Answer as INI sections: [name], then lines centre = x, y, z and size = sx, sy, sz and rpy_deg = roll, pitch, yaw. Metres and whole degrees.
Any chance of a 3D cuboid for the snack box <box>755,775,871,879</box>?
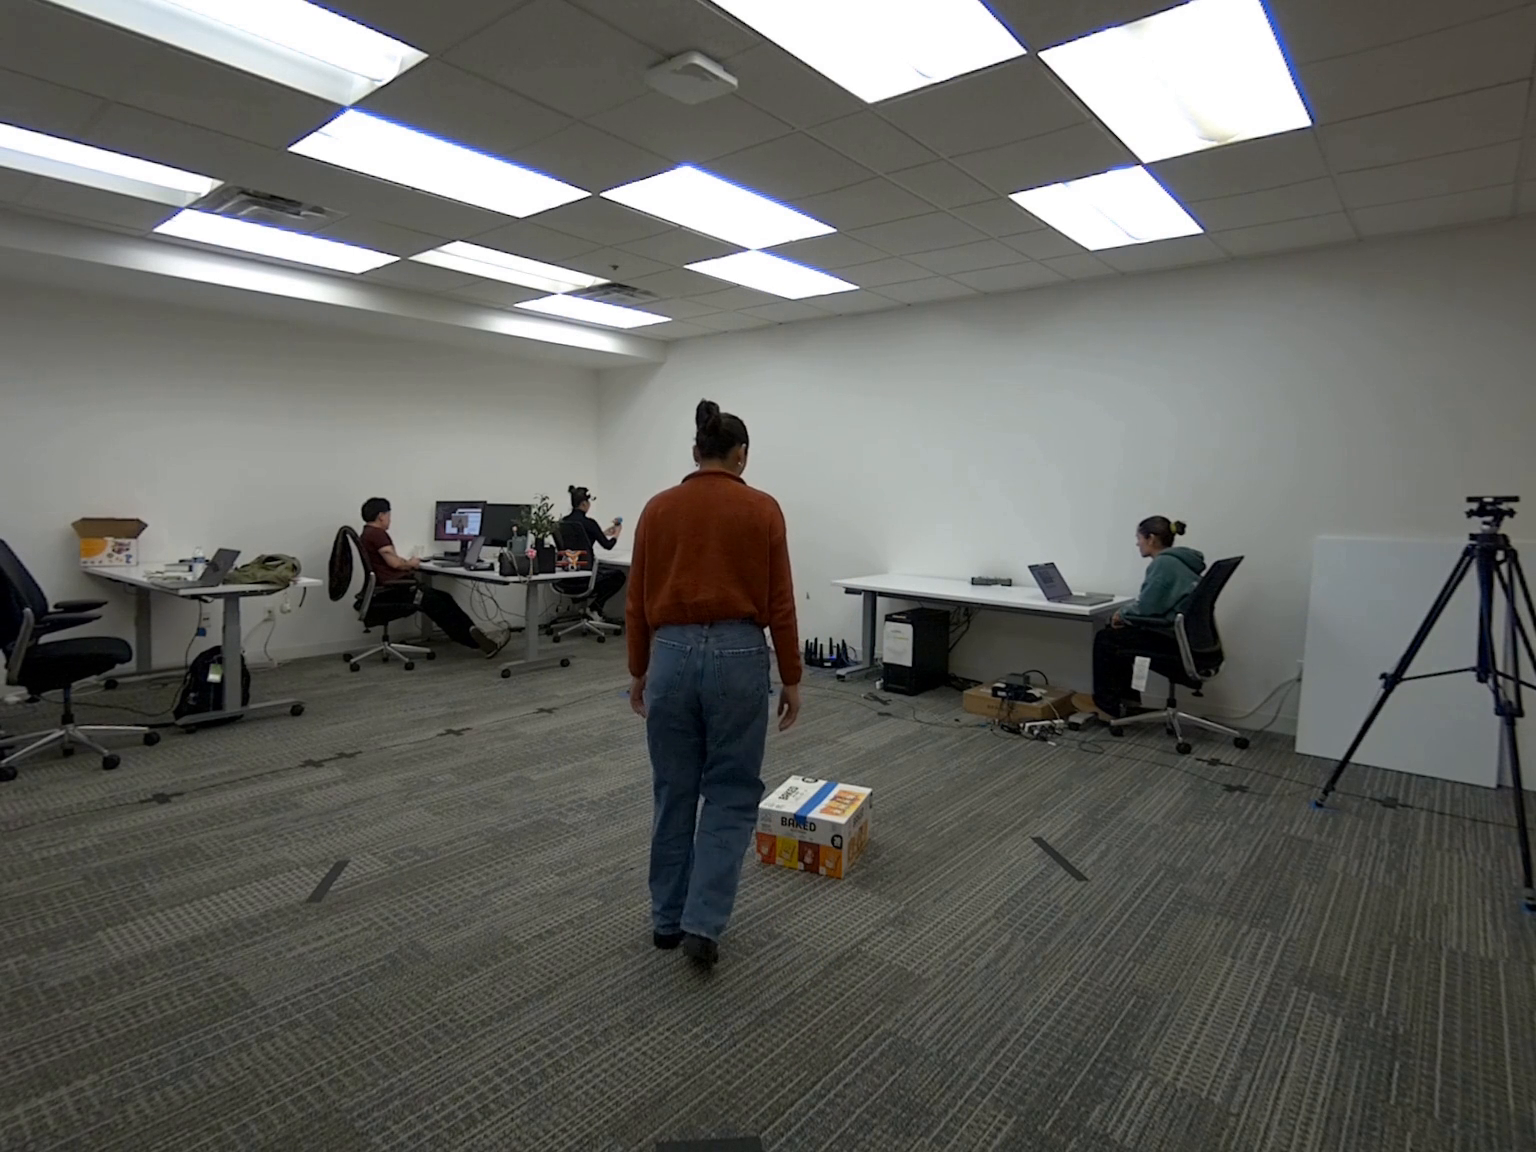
[snack box]
centre = 0.179, 0.953, 3.287
size = 0.349, 0.205, 0.397
rpy_deg = 4, 6, 23
